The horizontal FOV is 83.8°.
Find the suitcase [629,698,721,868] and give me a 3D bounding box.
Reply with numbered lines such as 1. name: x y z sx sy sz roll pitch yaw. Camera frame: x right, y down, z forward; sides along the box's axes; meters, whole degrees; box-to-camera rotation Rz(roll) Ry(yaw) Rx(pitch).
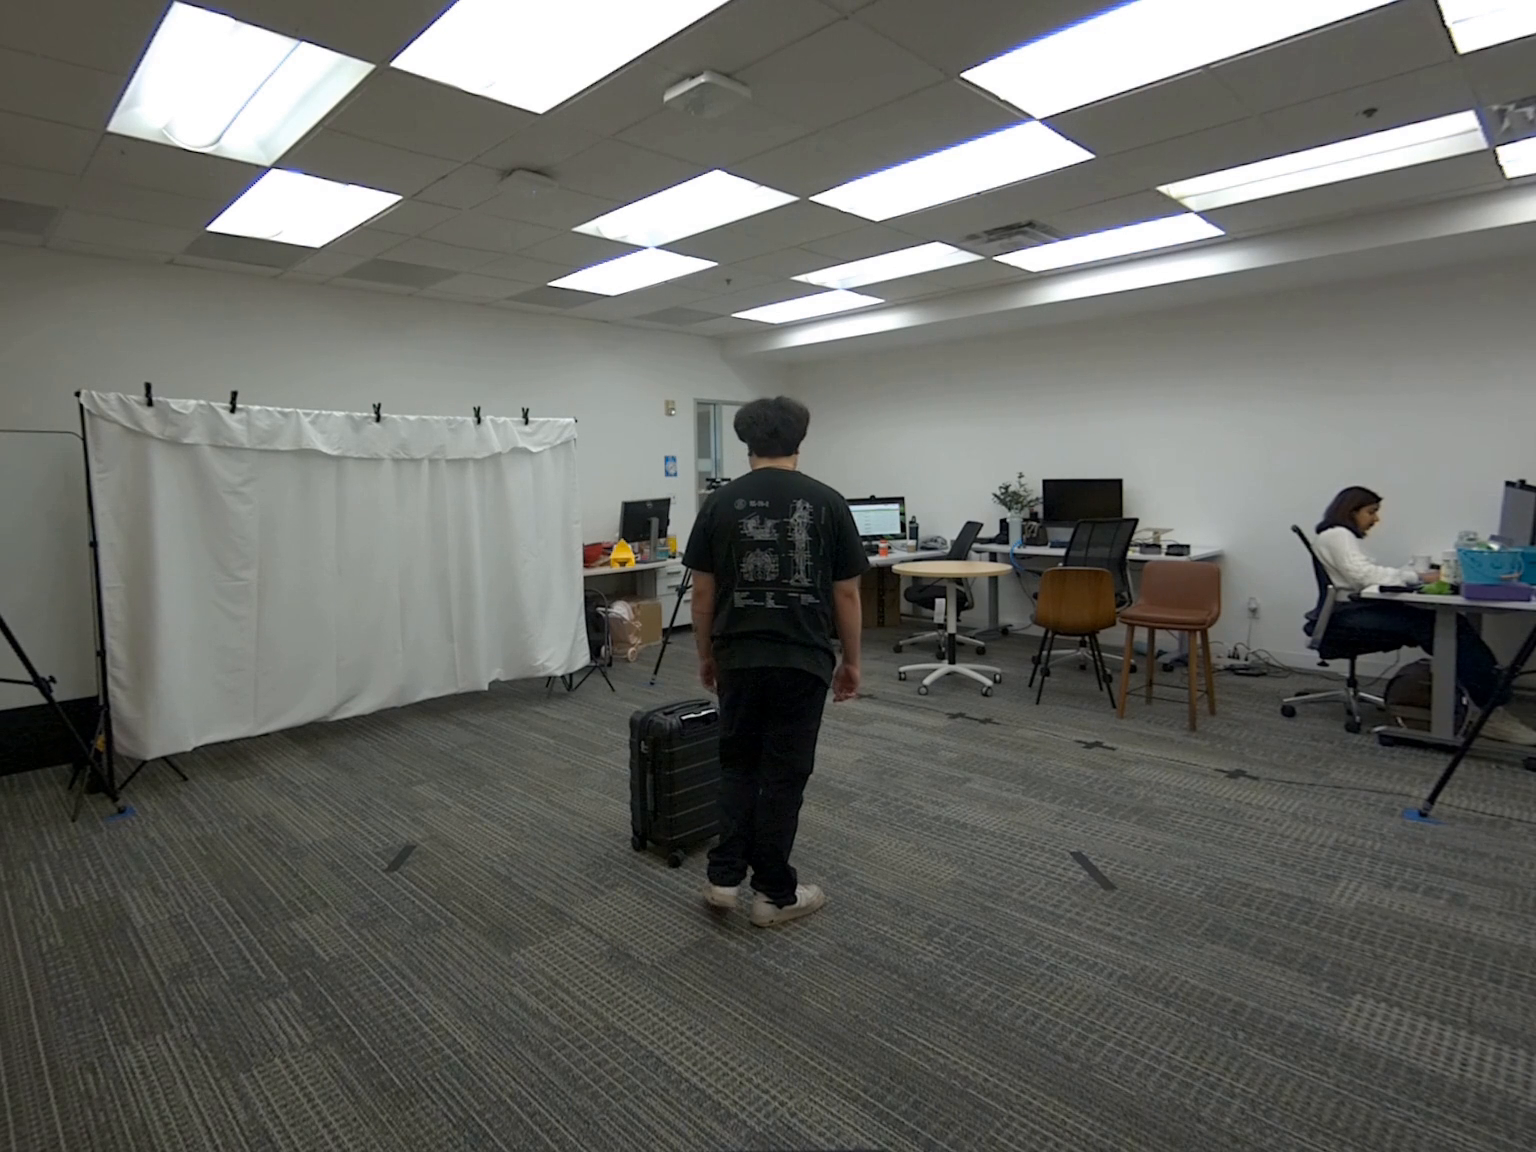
1. suitcase: -0.336 0.759 3.254 0.365 0.548 0.255 -6 4 -44
